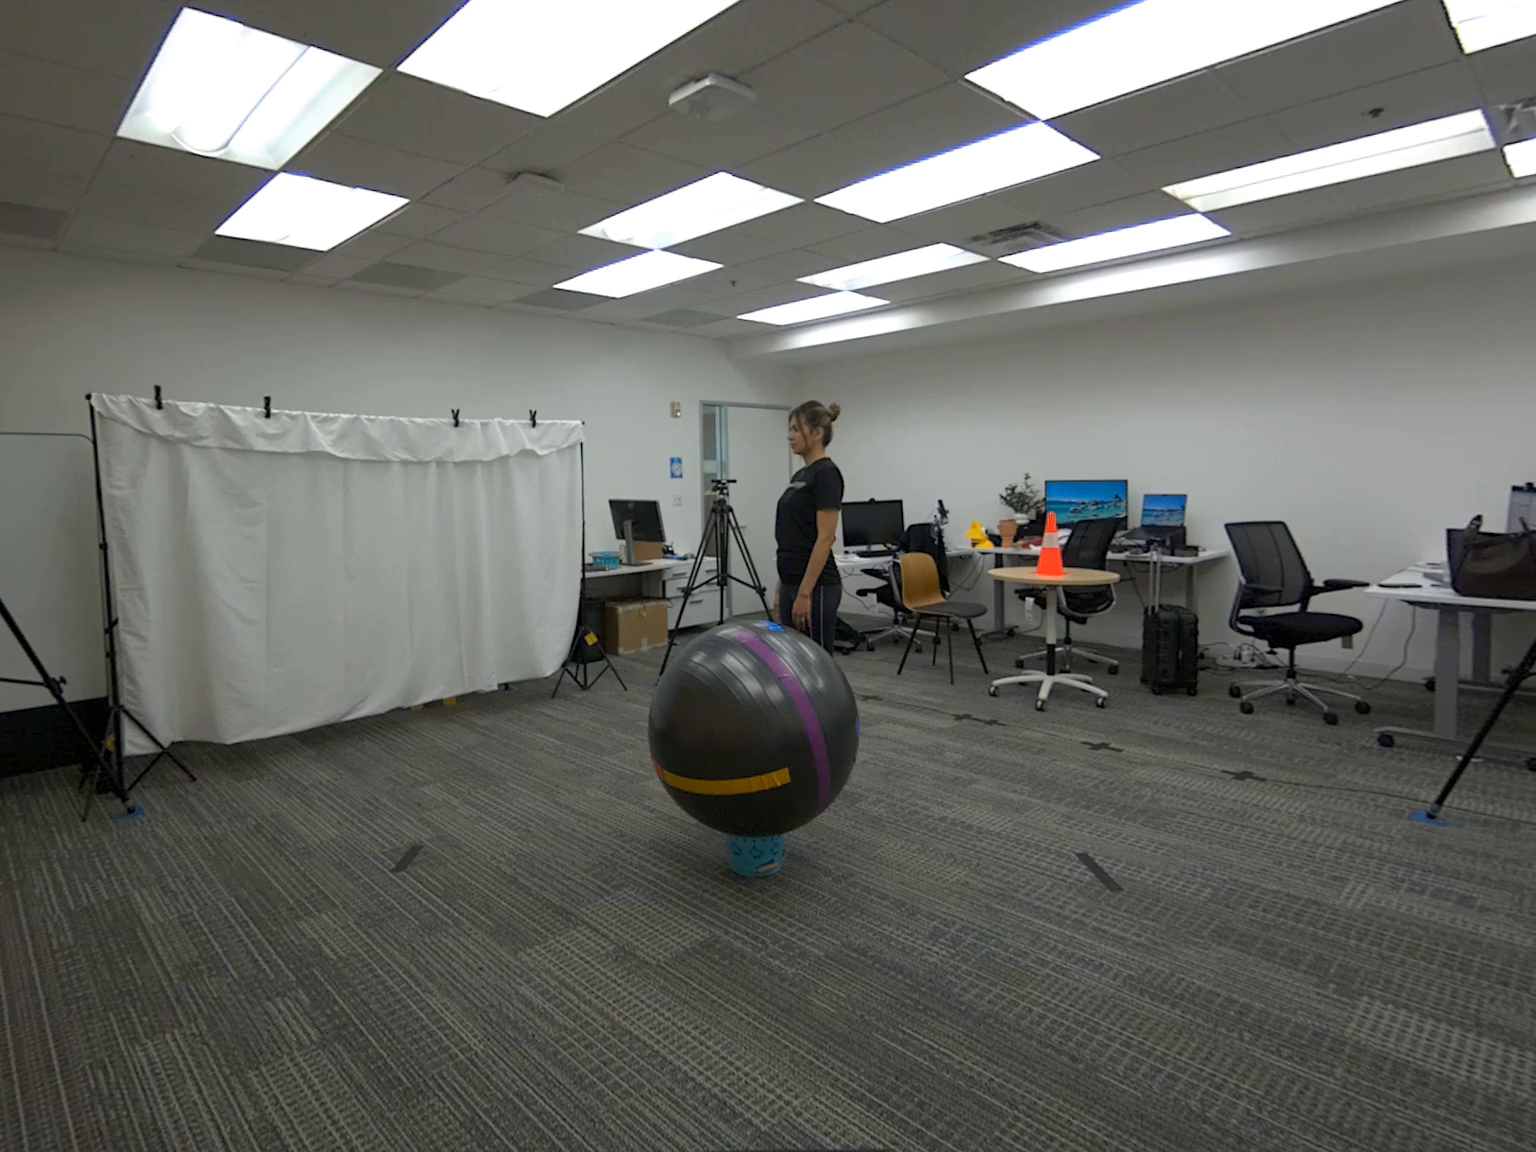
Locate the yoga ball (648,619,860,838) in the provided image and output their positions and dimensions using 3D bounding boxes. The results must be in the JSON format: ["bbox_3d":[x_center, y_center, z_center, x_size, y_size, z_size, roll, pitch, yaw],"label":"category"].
[{"bbox_3d":[-0.060,0.536,3.062,0.757,0.755,0.762,-1,5,-2],"label":"yoga ball"}]
